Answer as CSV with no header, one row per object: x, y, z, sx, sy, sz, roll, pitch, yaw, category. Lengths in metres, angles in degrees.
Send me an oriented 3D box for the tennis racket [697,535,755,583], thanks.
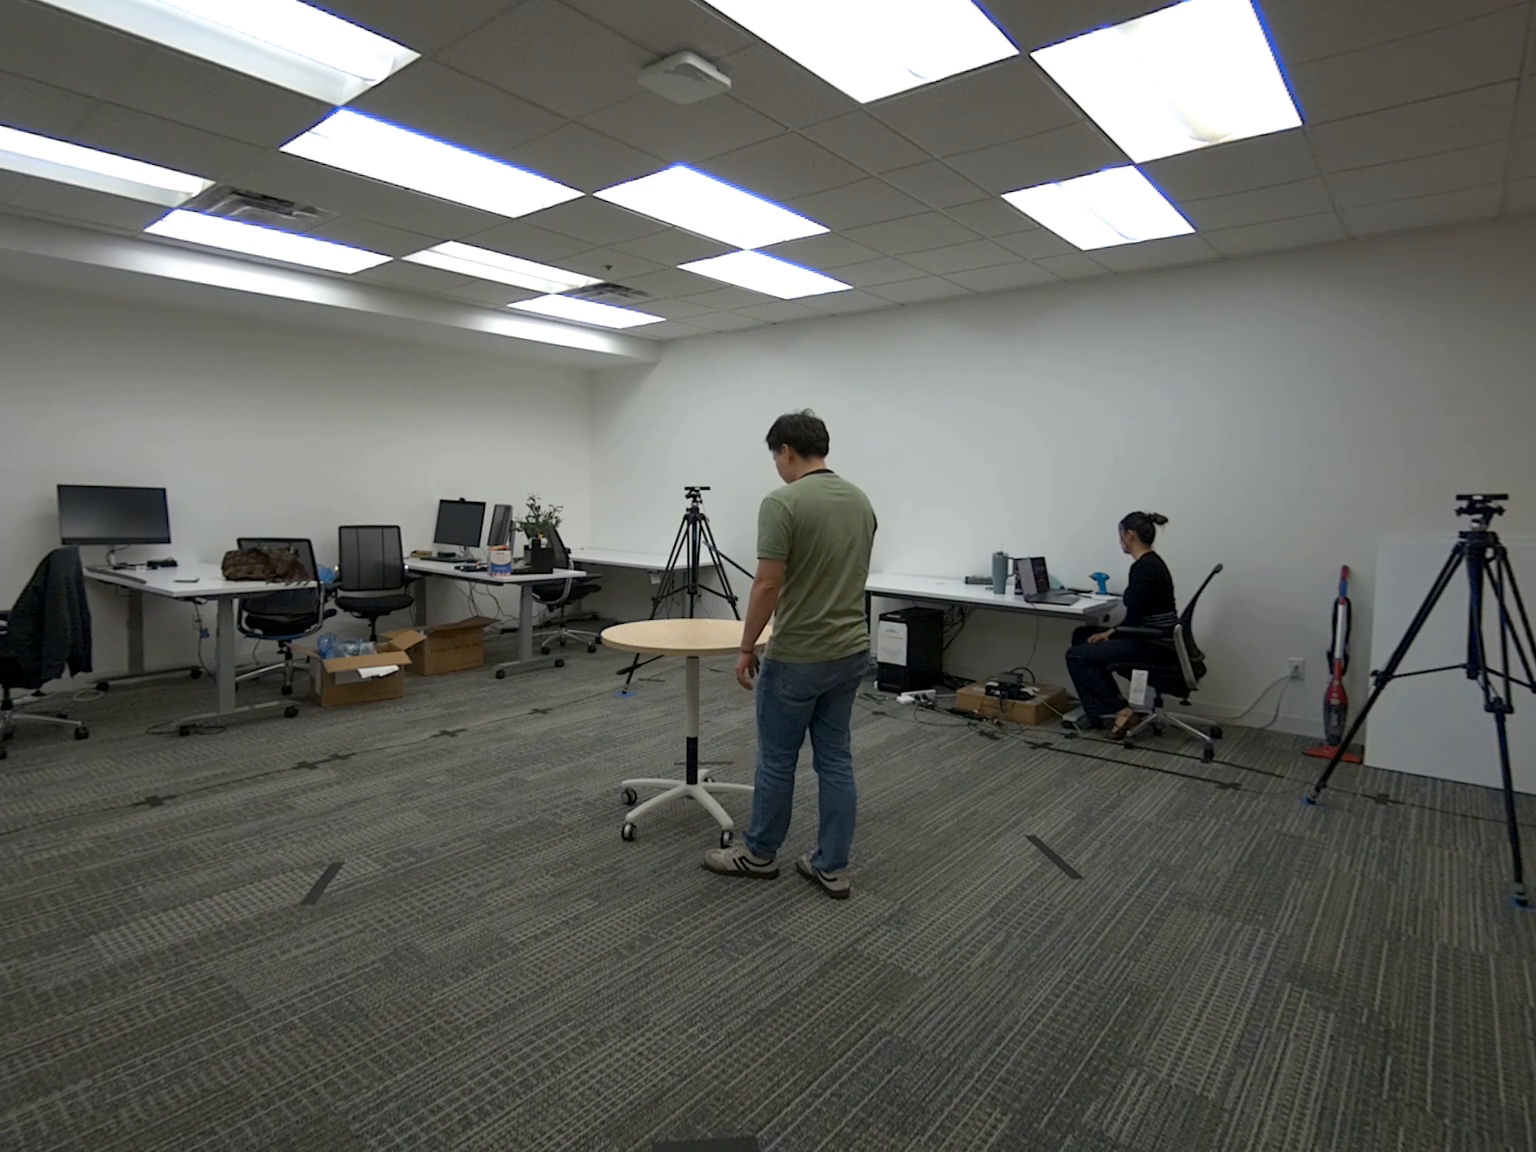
-0.085,-0.013,3.277,0.436,0.032,0.212,36,0,4,tennis racket
